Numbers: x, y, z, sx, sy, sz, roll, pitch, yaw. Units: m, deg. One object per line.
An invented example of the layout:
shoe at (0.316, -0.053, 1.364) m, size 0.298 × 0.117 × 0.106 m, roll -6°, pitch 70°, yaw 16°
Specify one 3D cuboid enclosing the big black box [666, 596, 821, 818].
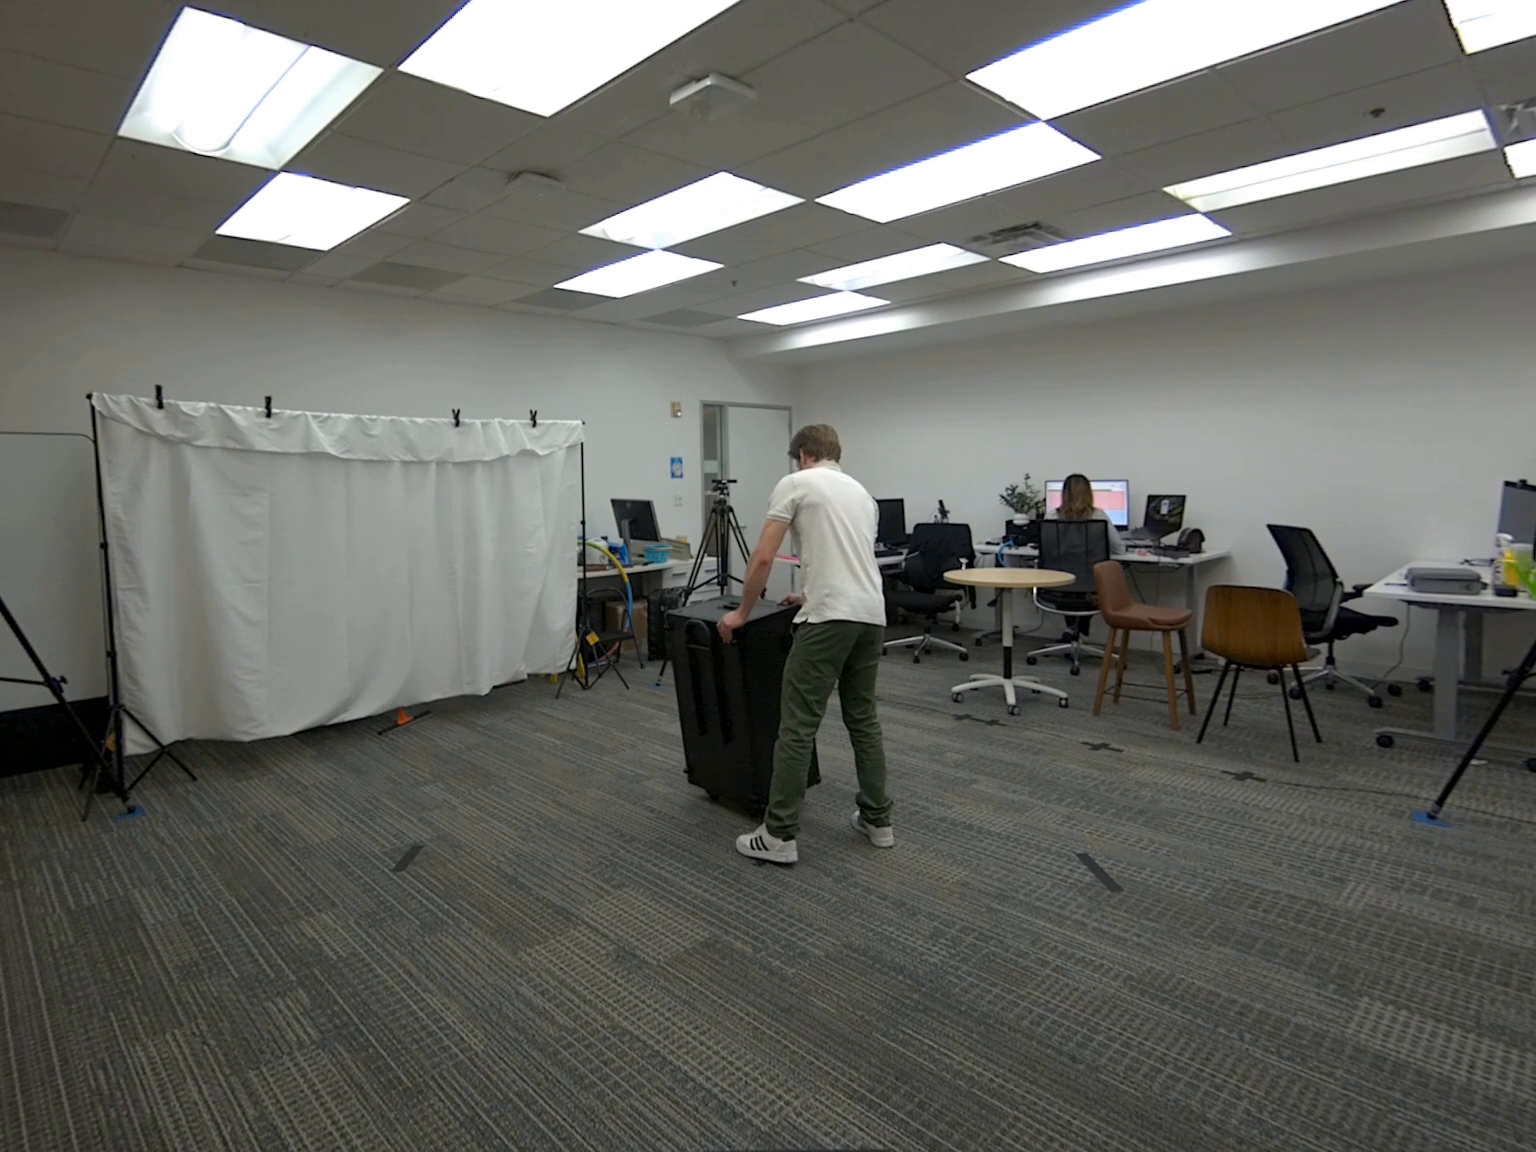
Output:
big black box at (-0.112, 0.553, 3.660) m, size 0.388 × 0.854 × 0.537 m, roll -14°, pitch 11°, yaw -39°
